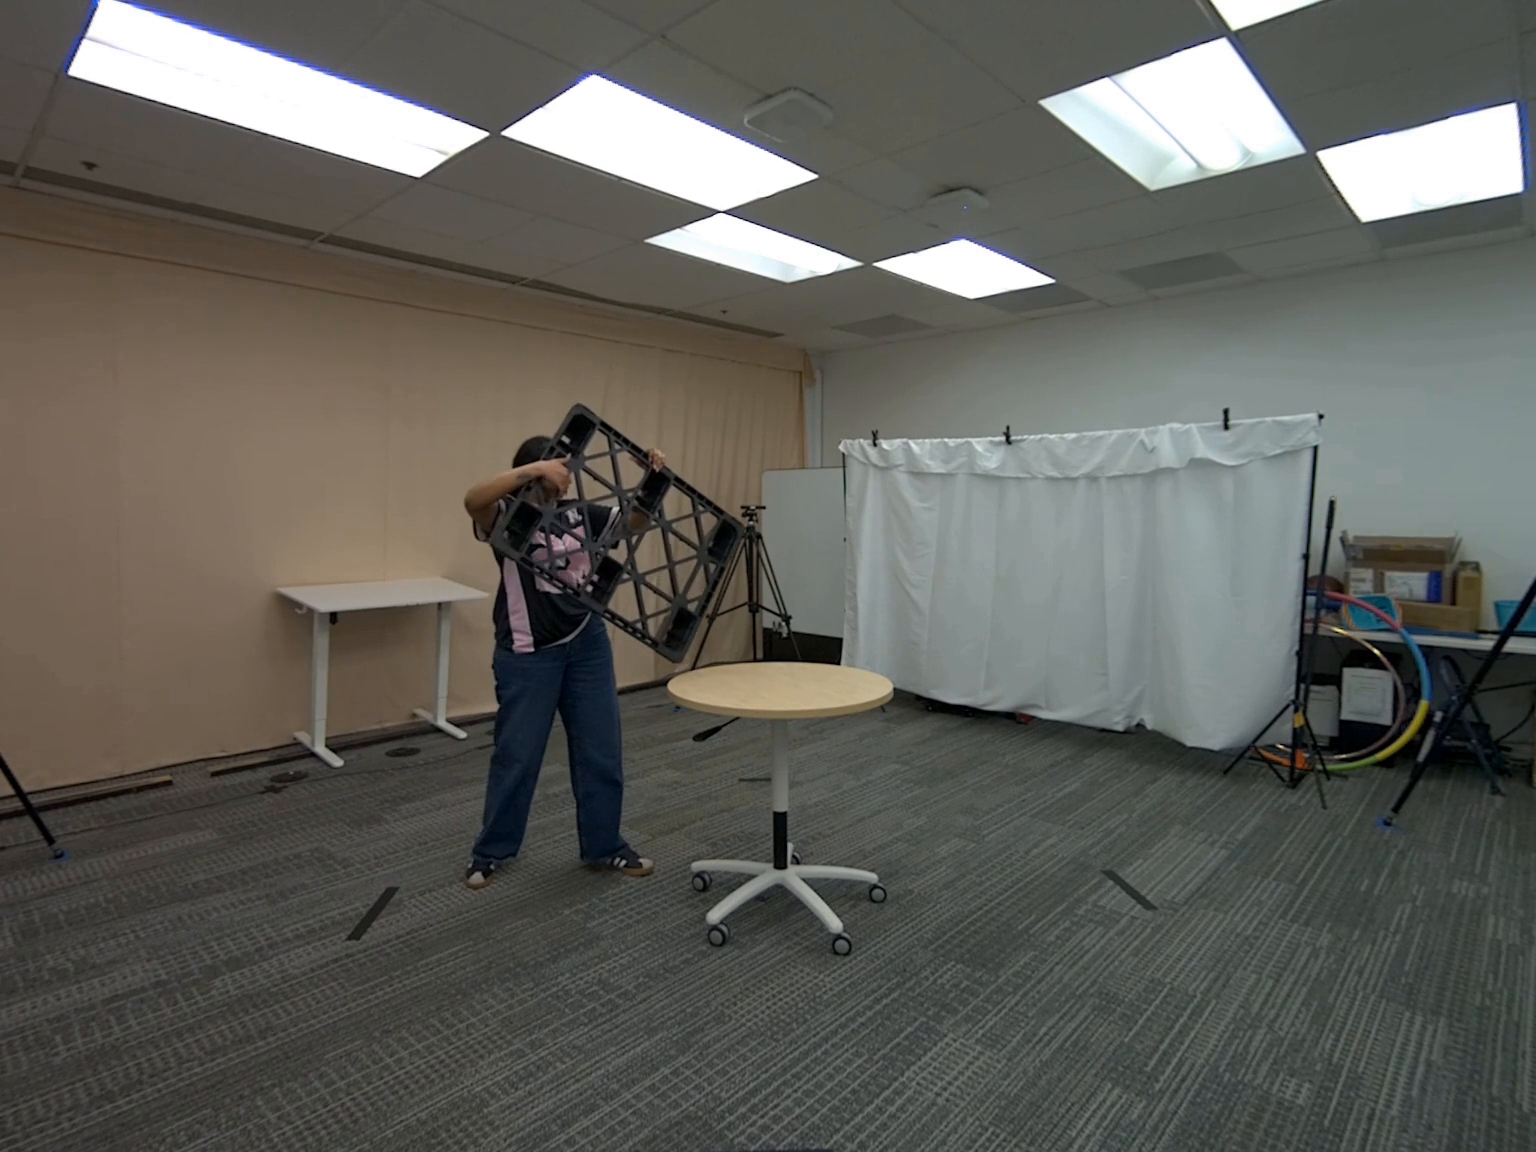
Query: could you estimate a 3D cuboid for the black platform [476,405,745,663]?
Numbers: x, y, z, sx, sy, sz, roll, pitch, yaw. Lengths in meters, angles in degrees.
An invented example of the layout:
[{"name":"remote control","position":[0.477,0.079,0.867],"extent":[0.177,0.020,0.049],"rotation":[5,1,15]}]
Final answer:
[{"name":"black platform","position":[-0.525,-0.142,3.010],"extent":[0.785,0.606,0.147],"rotation":[36,-25,-23]}]
